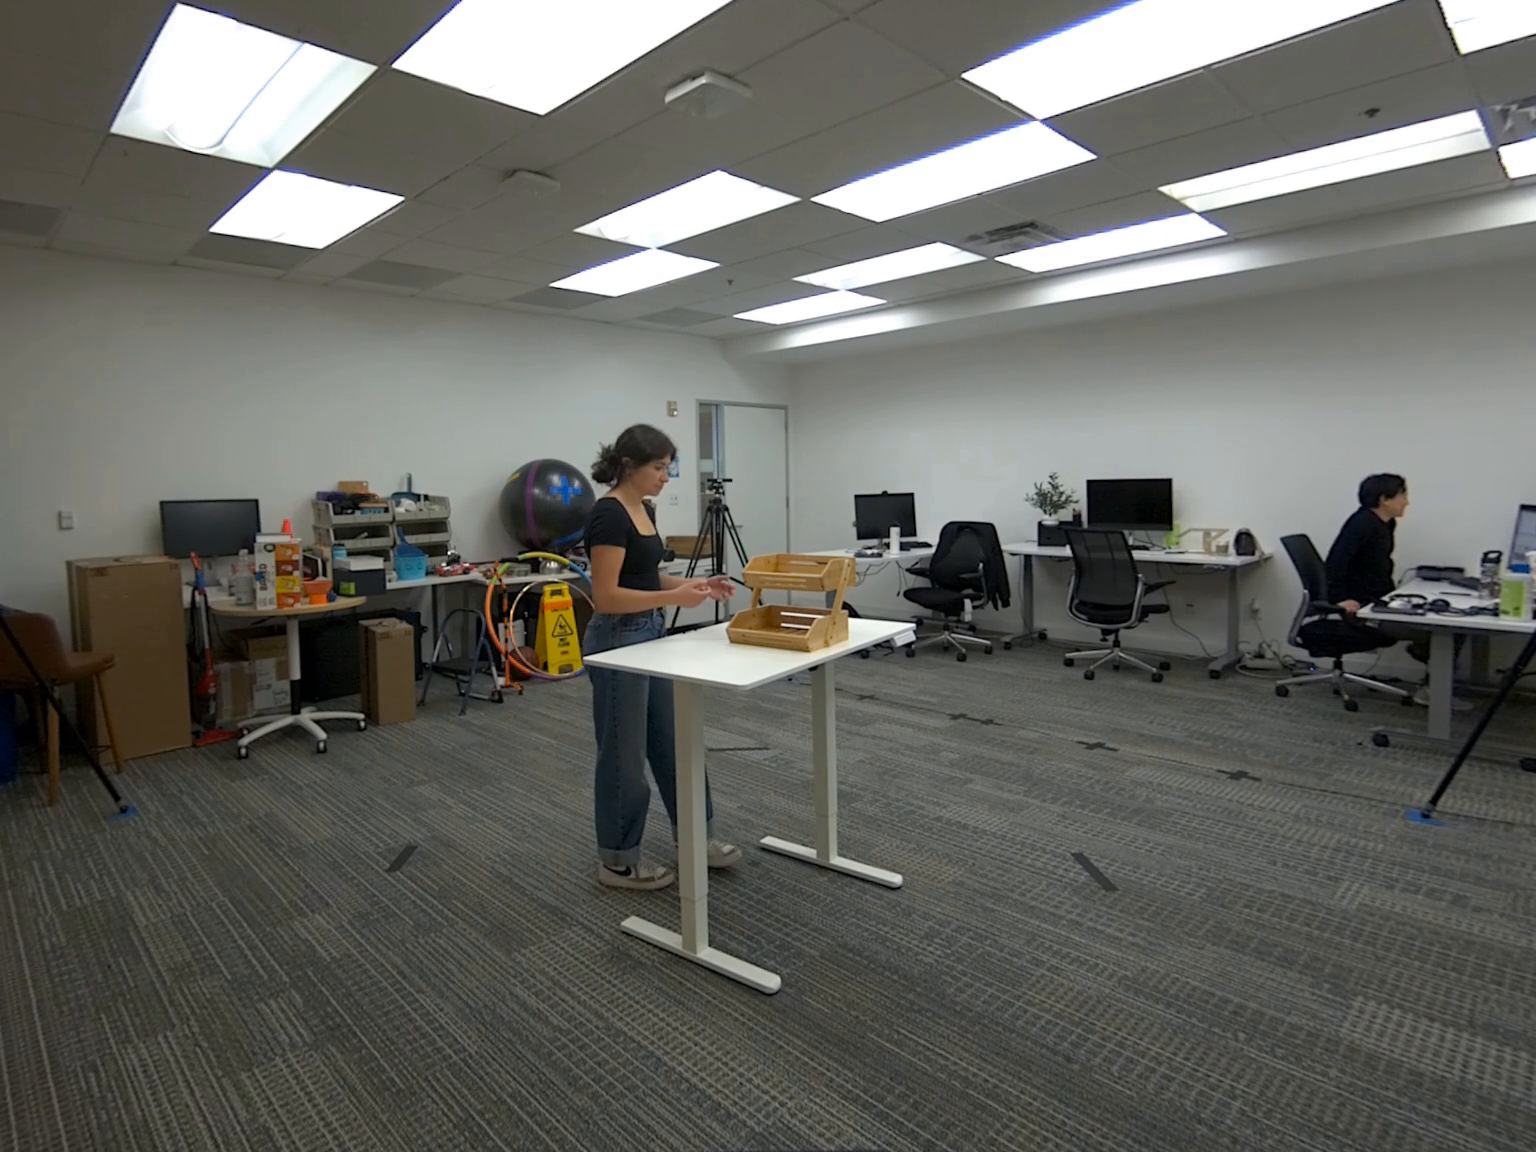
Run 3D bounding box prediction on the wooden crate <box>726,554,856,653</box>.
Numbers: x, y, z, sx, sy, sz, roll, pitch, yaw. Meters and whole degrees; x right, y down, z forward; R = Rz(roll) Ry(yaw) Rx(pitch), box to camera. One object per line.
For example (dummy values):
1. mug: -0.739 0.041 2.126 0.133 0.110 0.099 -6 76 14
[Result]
1. wooden crate: 0.074 0.072 2.707 0.334 0.272 0.295 2 6 35
